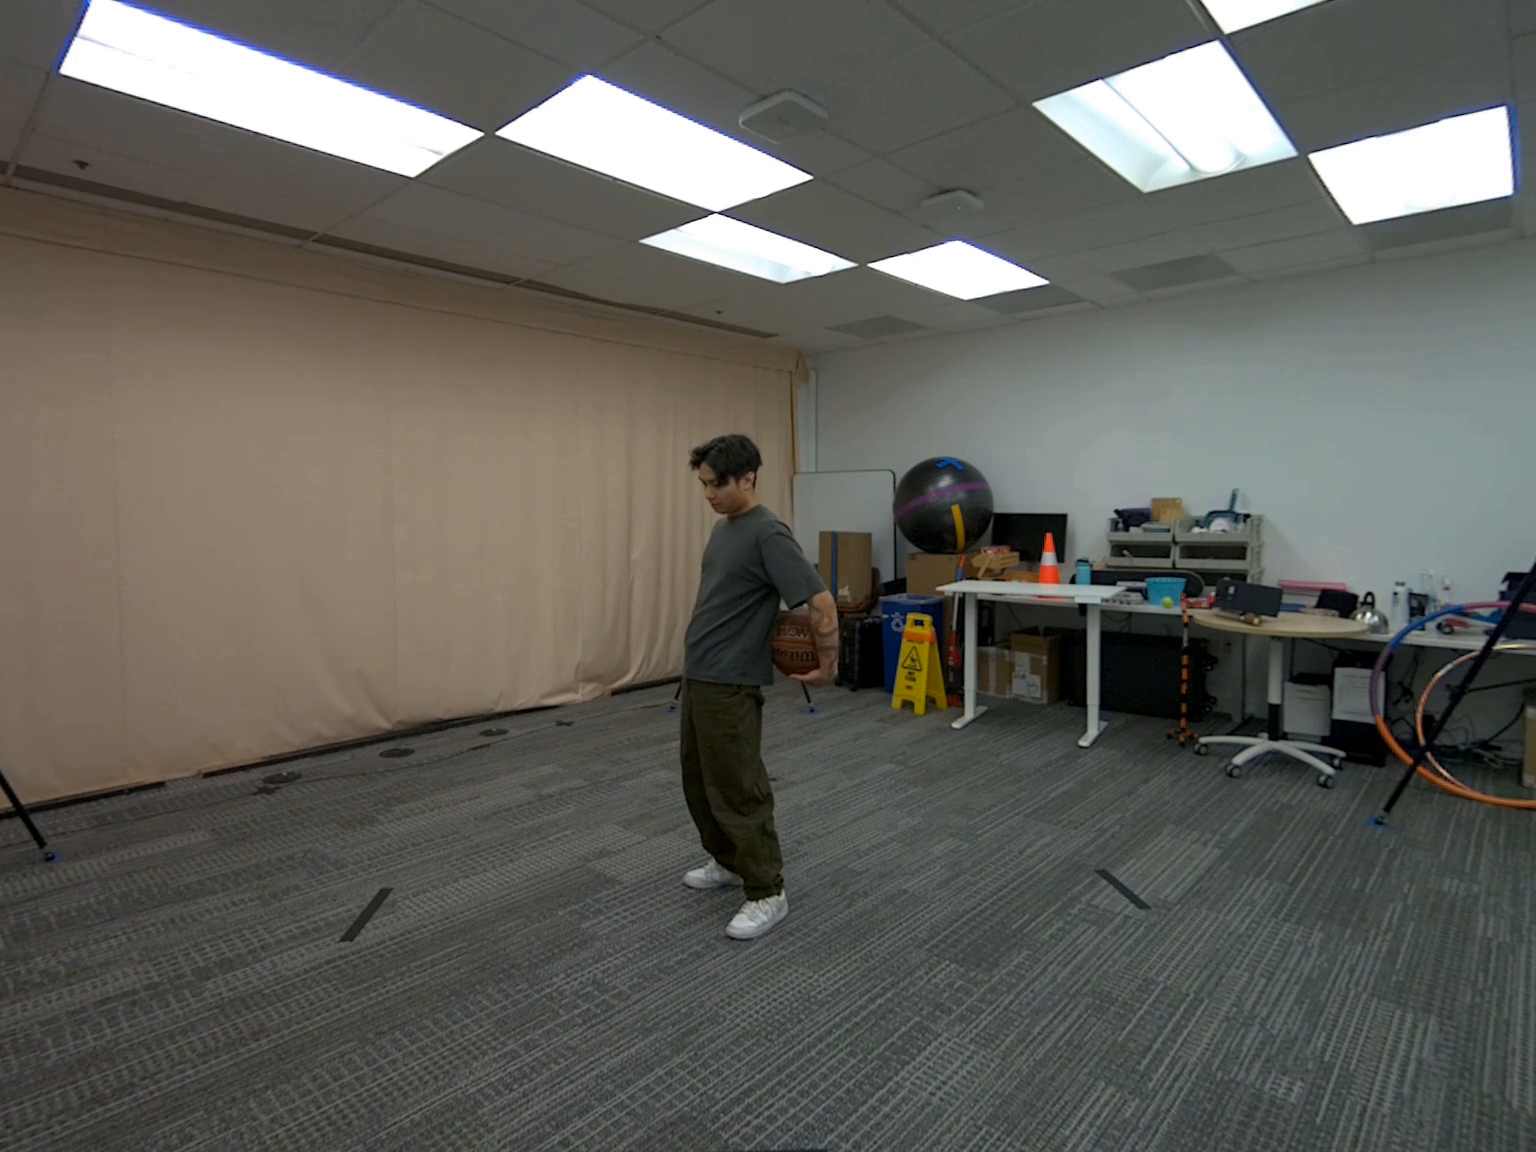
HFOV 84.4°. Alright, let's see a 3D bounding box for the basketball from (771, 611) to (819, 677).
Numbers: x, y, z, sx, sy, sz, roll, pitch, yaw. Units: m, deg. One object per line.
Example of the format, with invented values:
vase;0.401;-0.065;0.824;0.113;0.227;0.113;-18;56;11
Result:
basketball;0.113;0.235;2.808;0.236;0.235;0.237;0;4;-2
